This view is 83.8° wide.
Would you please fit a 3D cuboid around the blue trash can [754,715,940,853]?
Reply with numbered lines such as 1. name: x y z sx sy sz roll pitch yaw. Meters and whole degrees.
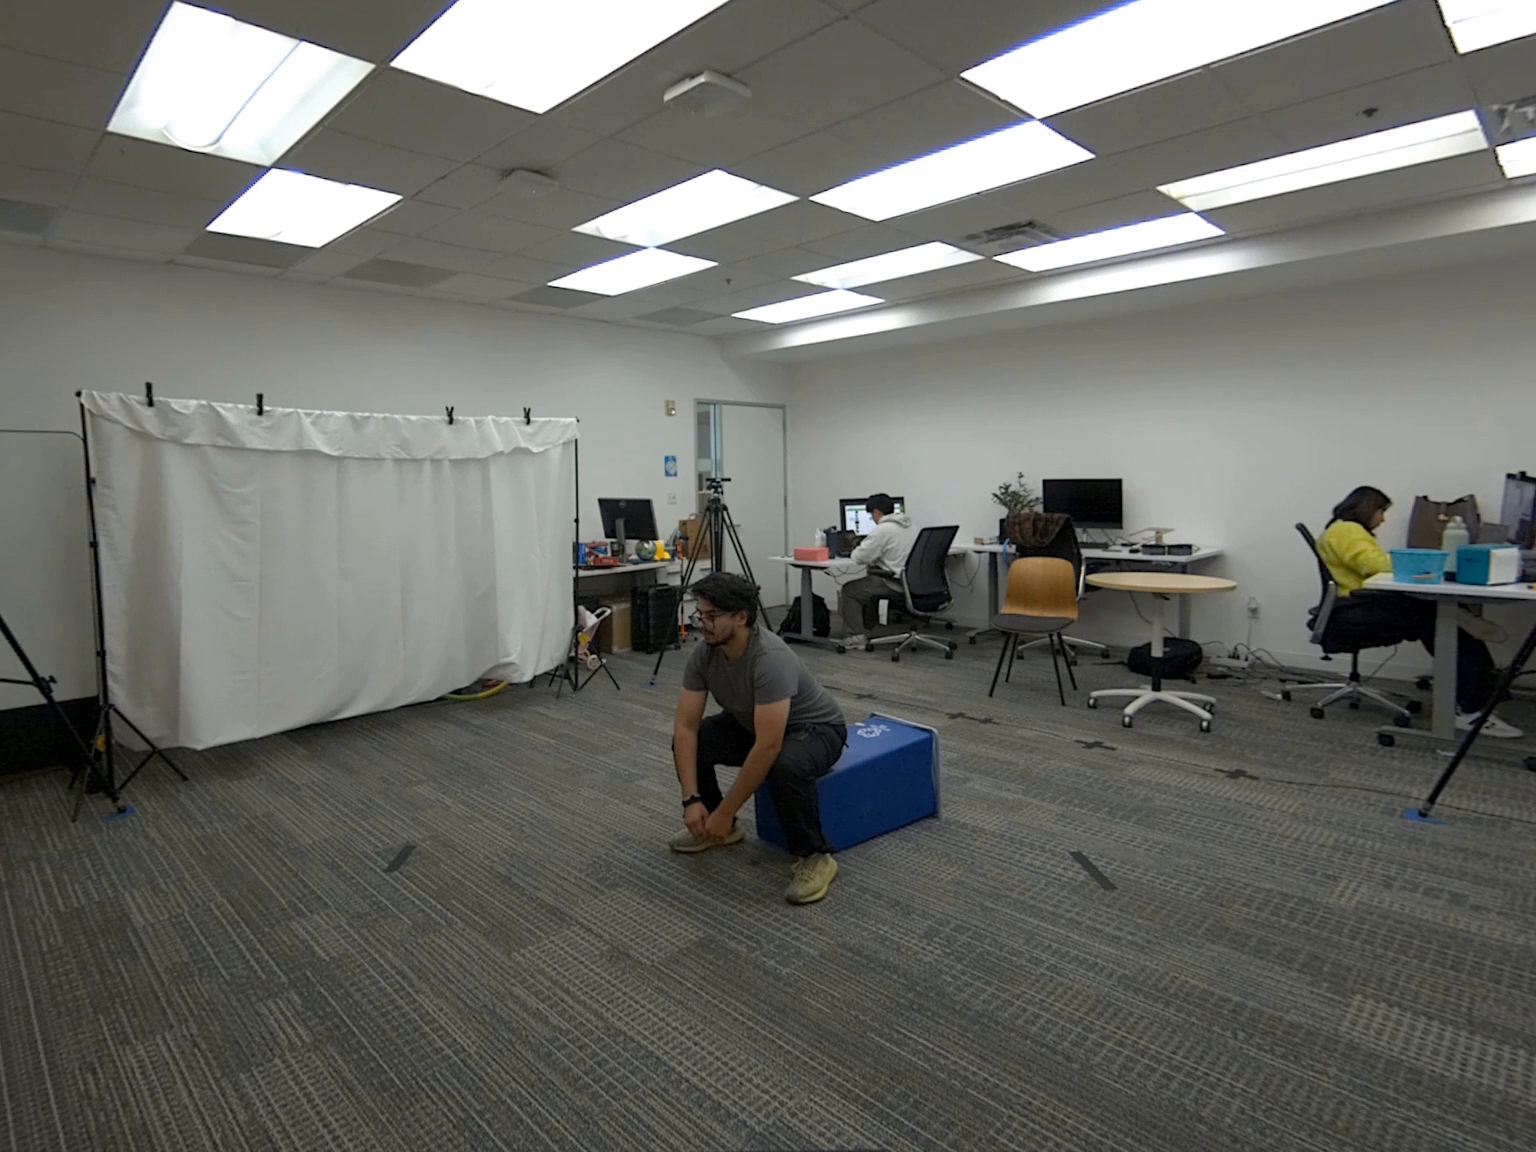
1. blue trash can: 0.322 0.826 3.408 0.696 0.372 0.389 -8 8 -39
